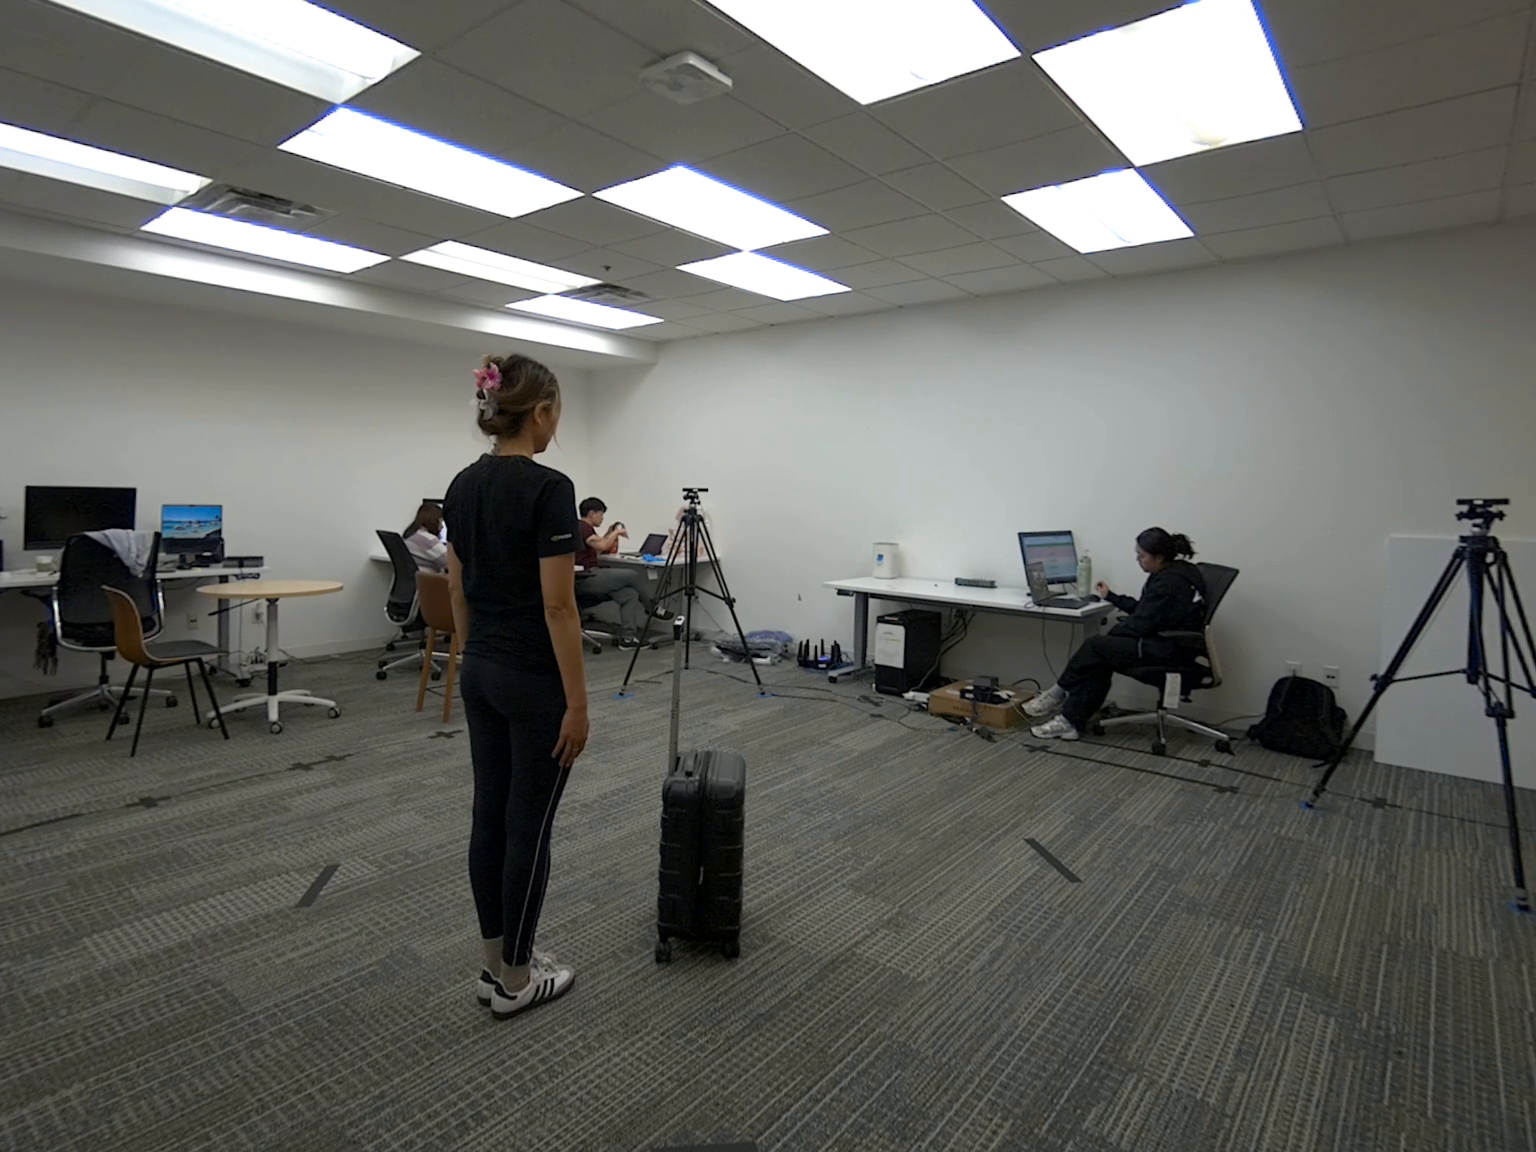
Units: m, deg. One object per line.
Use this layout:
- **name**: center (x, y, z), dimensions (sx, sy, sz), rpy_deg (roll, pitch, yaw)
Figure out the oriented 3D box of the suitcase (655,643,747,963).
- **suitcase**: center (-0.196, 0.637, 2.641), dimensions (0.256, 0.976, 0.386), rpy_deg (3, 3, -3)
